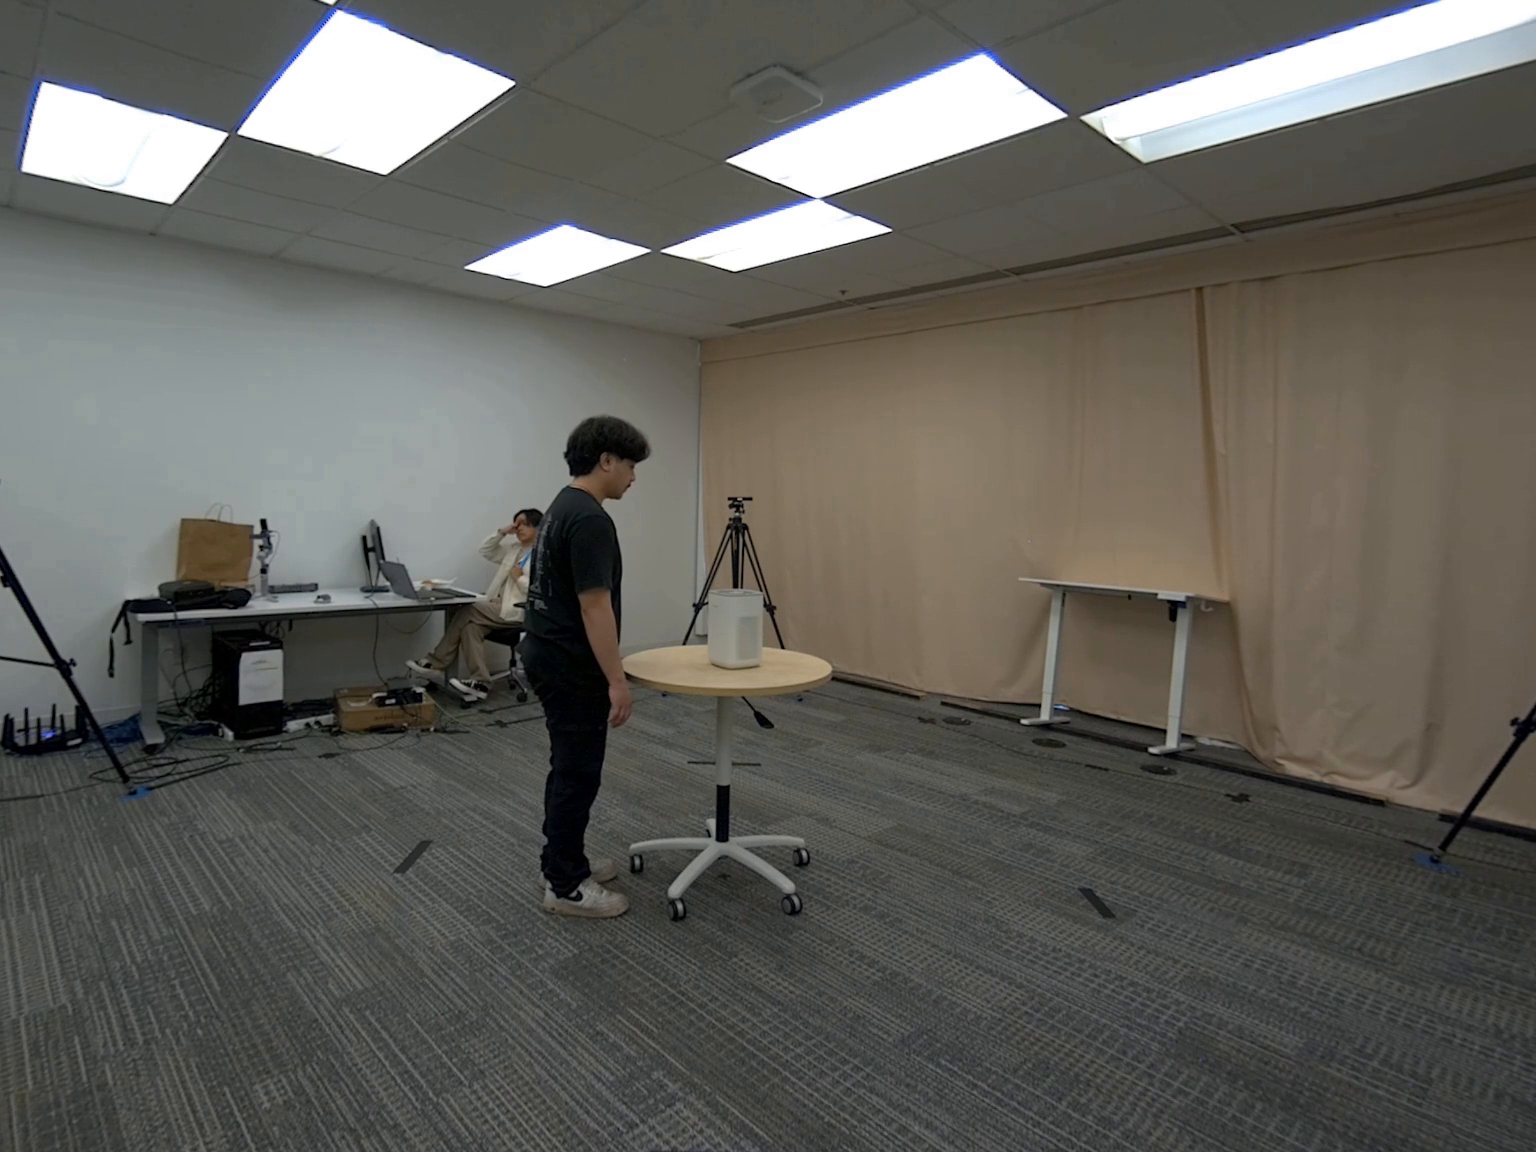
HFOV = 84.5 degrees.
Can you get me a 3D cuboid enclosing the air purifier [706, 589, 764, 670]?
[{"bbox_3d":[-0.123,0.187,3.021,0.168,0.264,0.175,-1,5,-36],"label":"air purifier"}]
